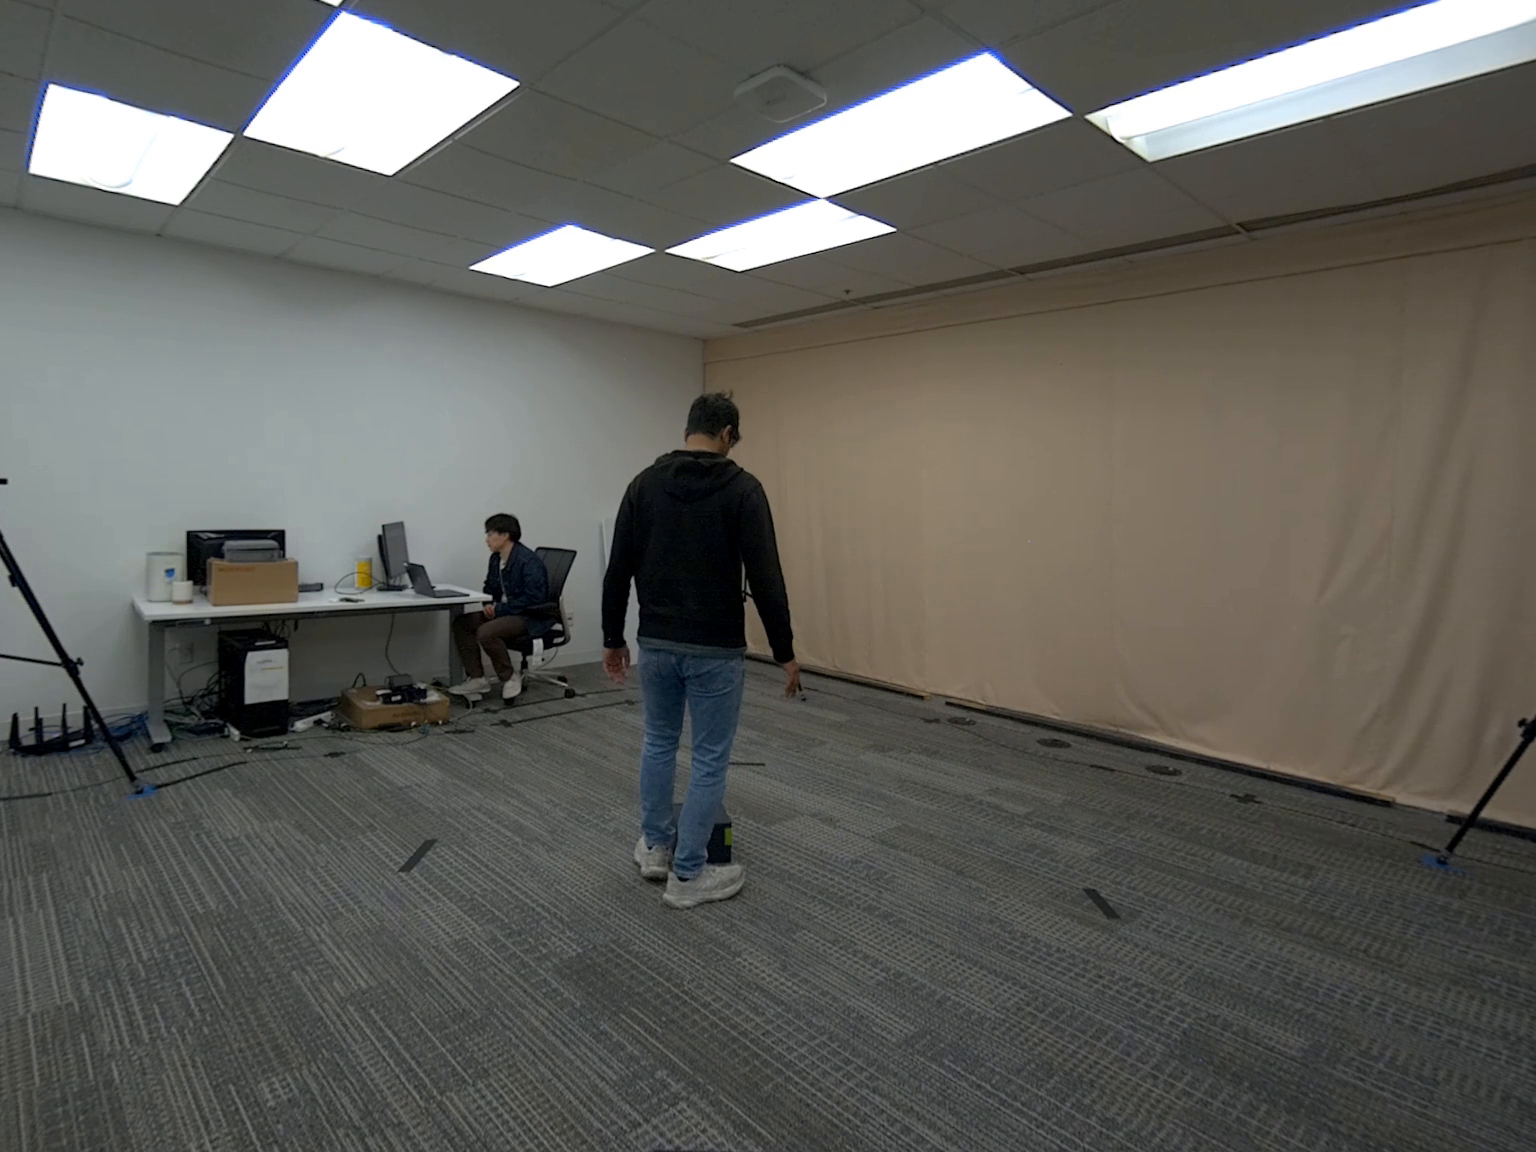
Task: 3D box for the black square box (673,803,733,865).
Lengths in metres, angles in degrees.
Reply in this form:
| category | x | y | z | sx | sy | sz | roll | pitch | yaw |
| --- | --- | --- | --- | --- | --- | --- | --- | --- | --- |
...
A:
| category | x | y | z | sx | sy | sz | roll | pitch | yaw |
| --- | --- | --- | --- | --- | --- | --- | --- | --- | --- |
| black square box | -0.250 | 1.000 | 3.312 | 0.215 | 0.155 | 0.230 | 0 | 4 | -11 |
